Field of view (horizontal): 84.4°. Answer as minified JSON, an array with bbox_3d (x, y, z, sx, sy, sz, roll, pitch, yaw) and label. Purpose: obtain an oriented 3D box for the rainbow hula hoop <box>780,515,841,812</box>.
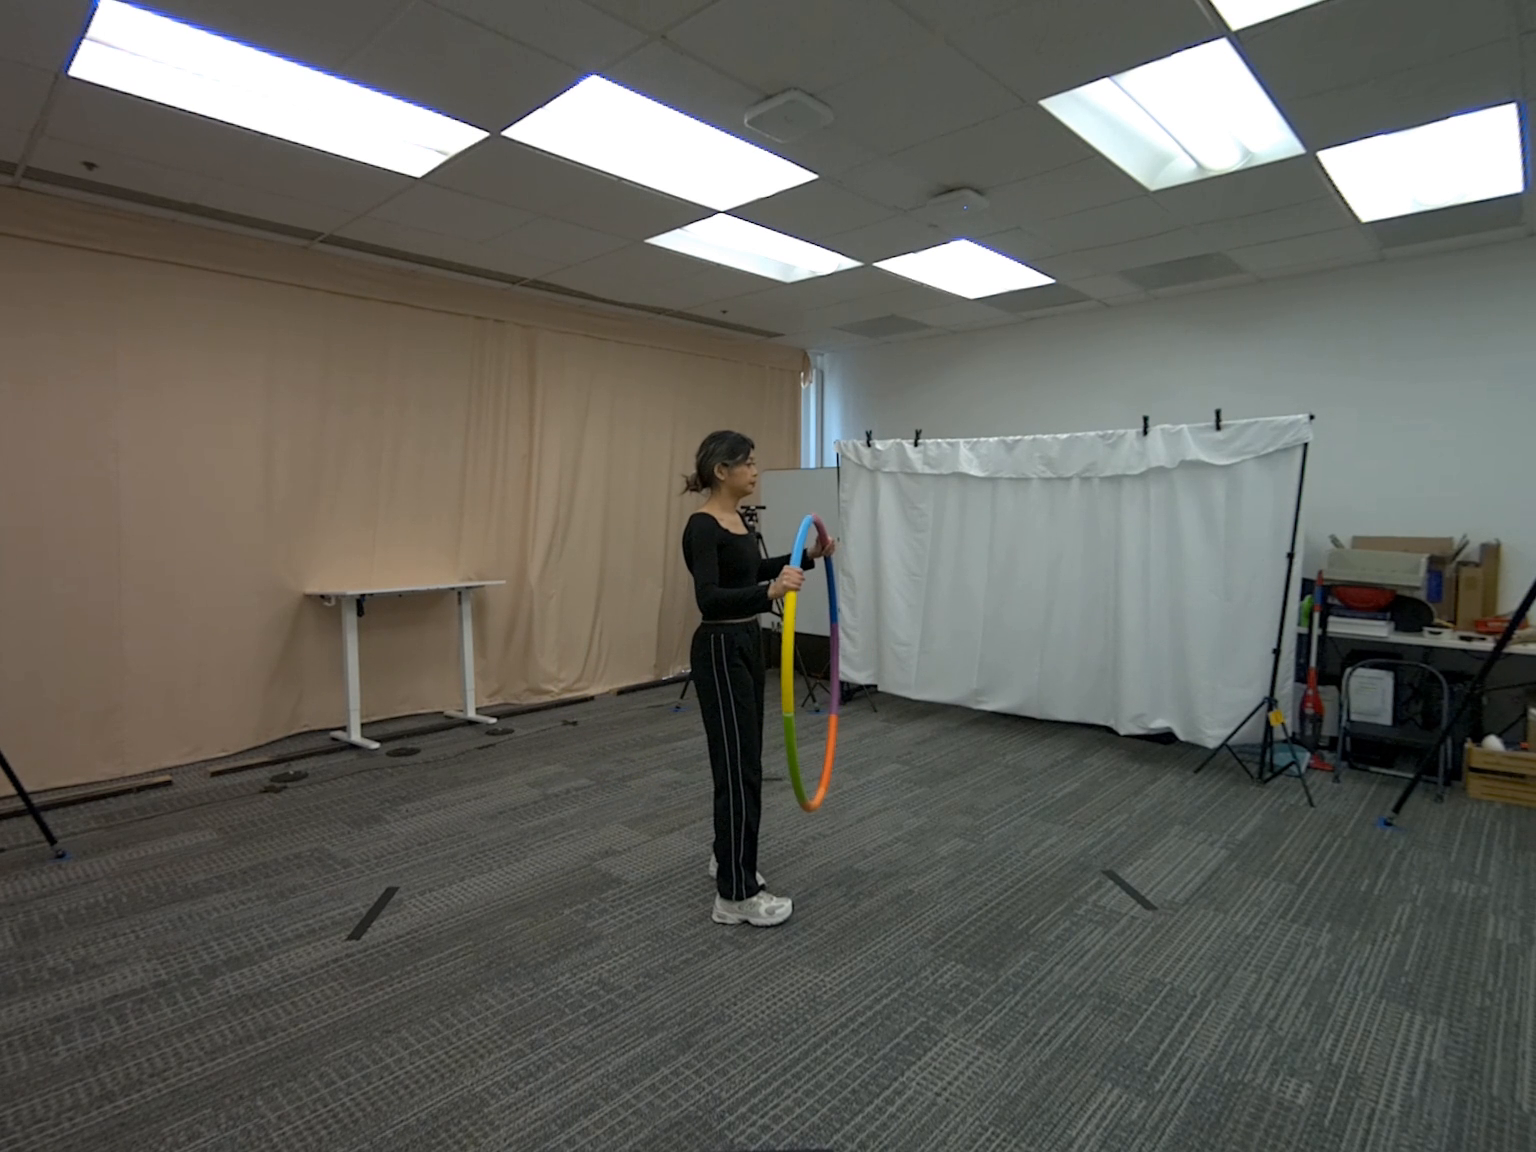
[{"bbox_3d":[0.162,0.291,2.870,0.036,0.976,0.964,0,4,14],"label":"rainbow hula hoop"}]
